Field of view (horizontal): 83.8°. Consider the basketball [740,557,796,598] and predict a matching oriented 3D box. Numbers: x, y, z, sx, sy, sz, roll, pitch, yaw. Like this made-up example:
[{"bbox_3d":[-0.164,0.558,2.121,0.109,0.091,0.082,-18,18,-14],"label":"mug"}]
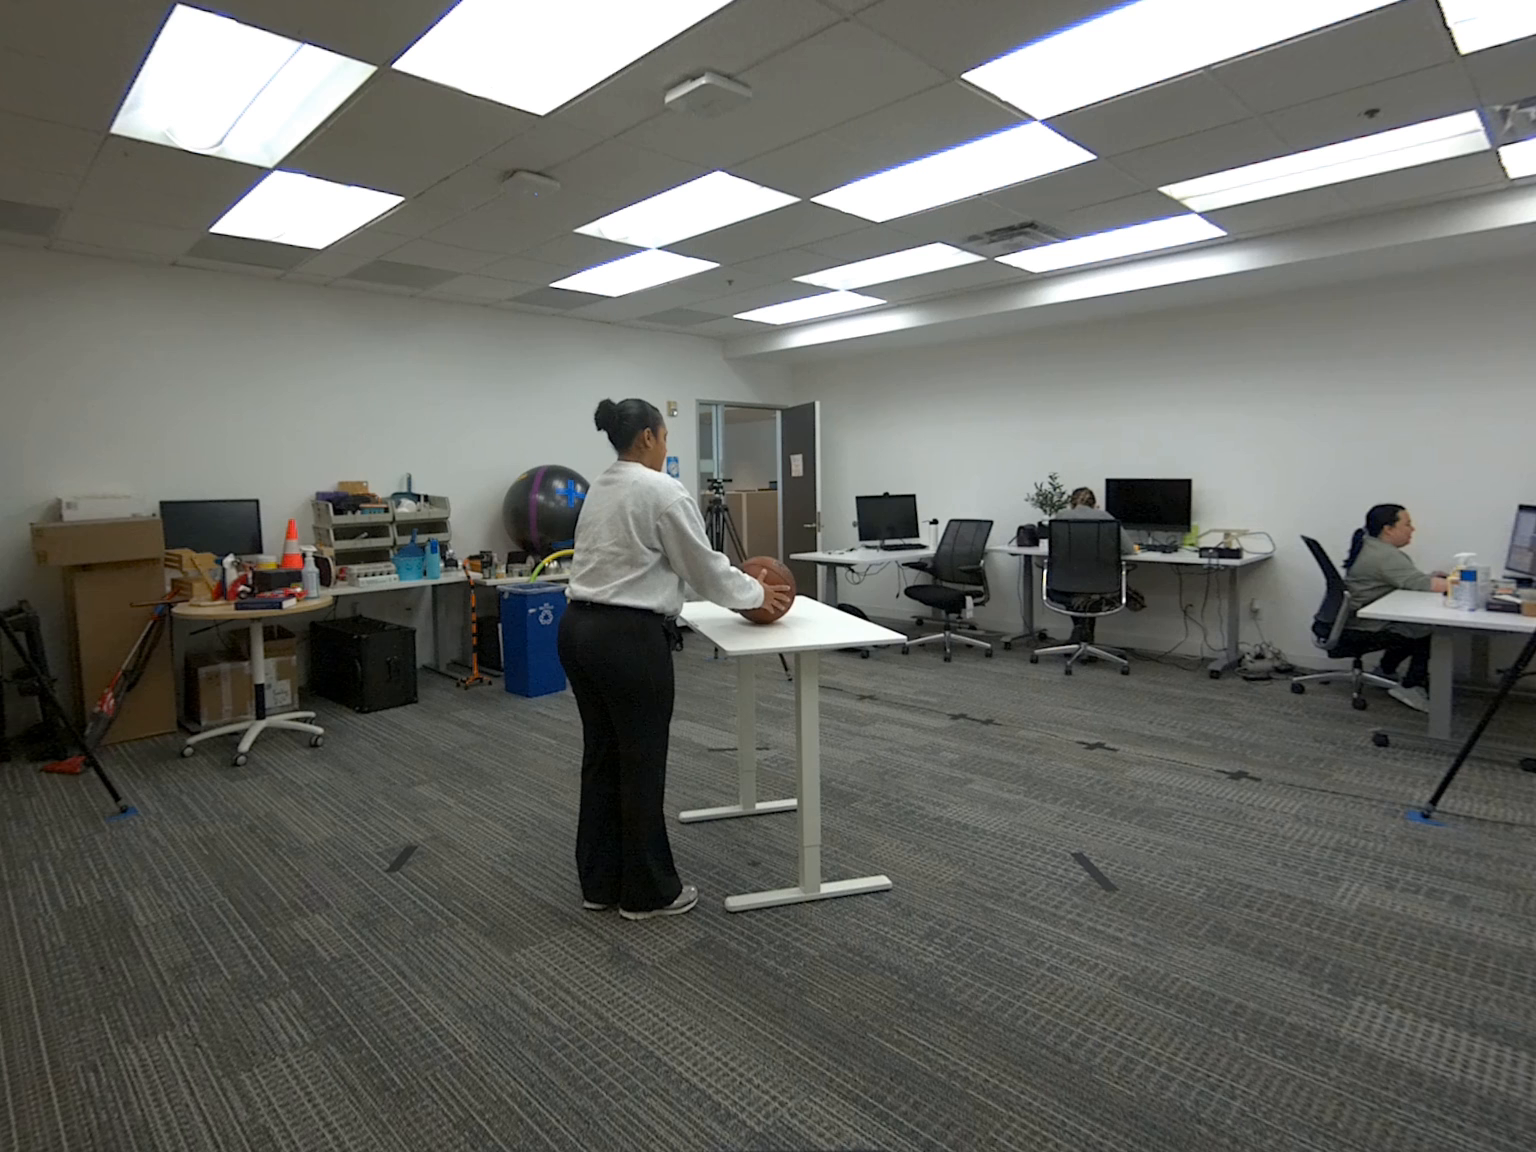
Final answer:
[{"bbox_3d":[-0.020,0.050,3.054,0.236,0.235,0.237,-1,5,-2],"label":"basketball"}]
